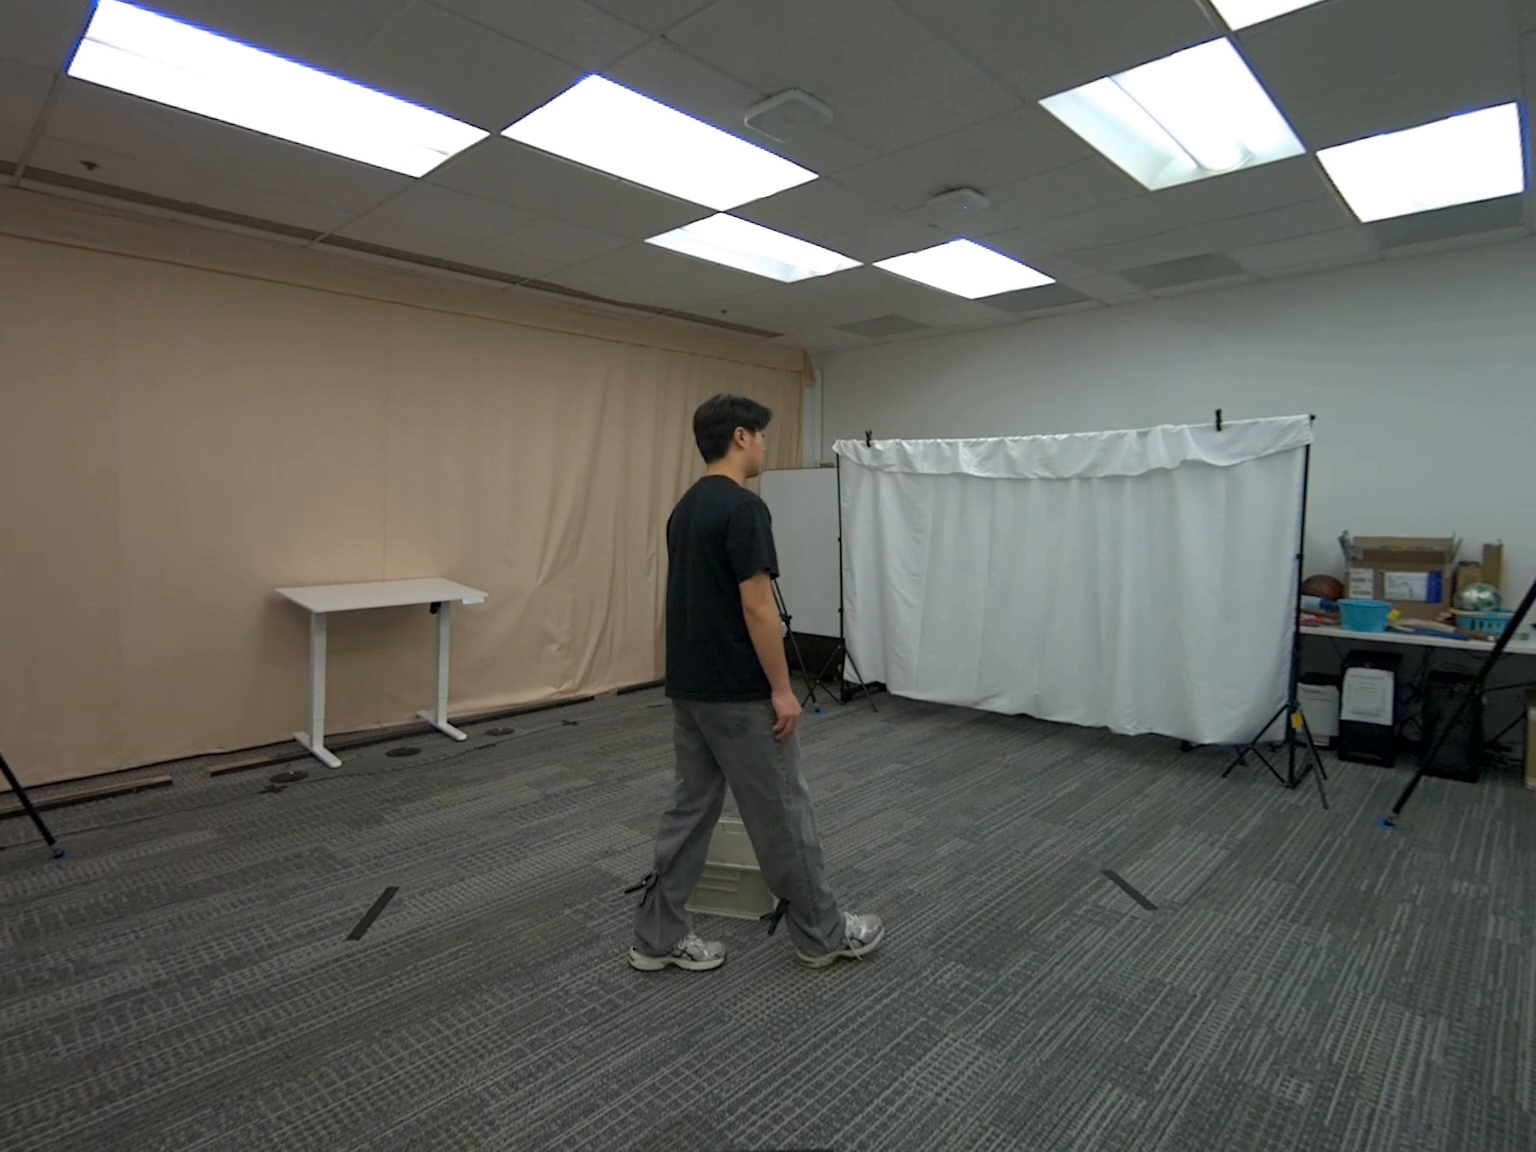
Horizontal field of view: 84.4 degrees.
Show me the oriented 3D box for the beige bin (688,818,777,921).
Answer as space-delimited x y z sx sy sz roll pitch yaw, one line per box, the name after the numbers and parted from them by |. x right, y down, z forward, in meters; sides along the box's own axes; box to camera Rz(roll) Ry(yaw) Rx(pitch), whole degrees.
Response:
-0.118 1.055 3.056 0.383 0.188 0.417 1 4 13 | beige bin
